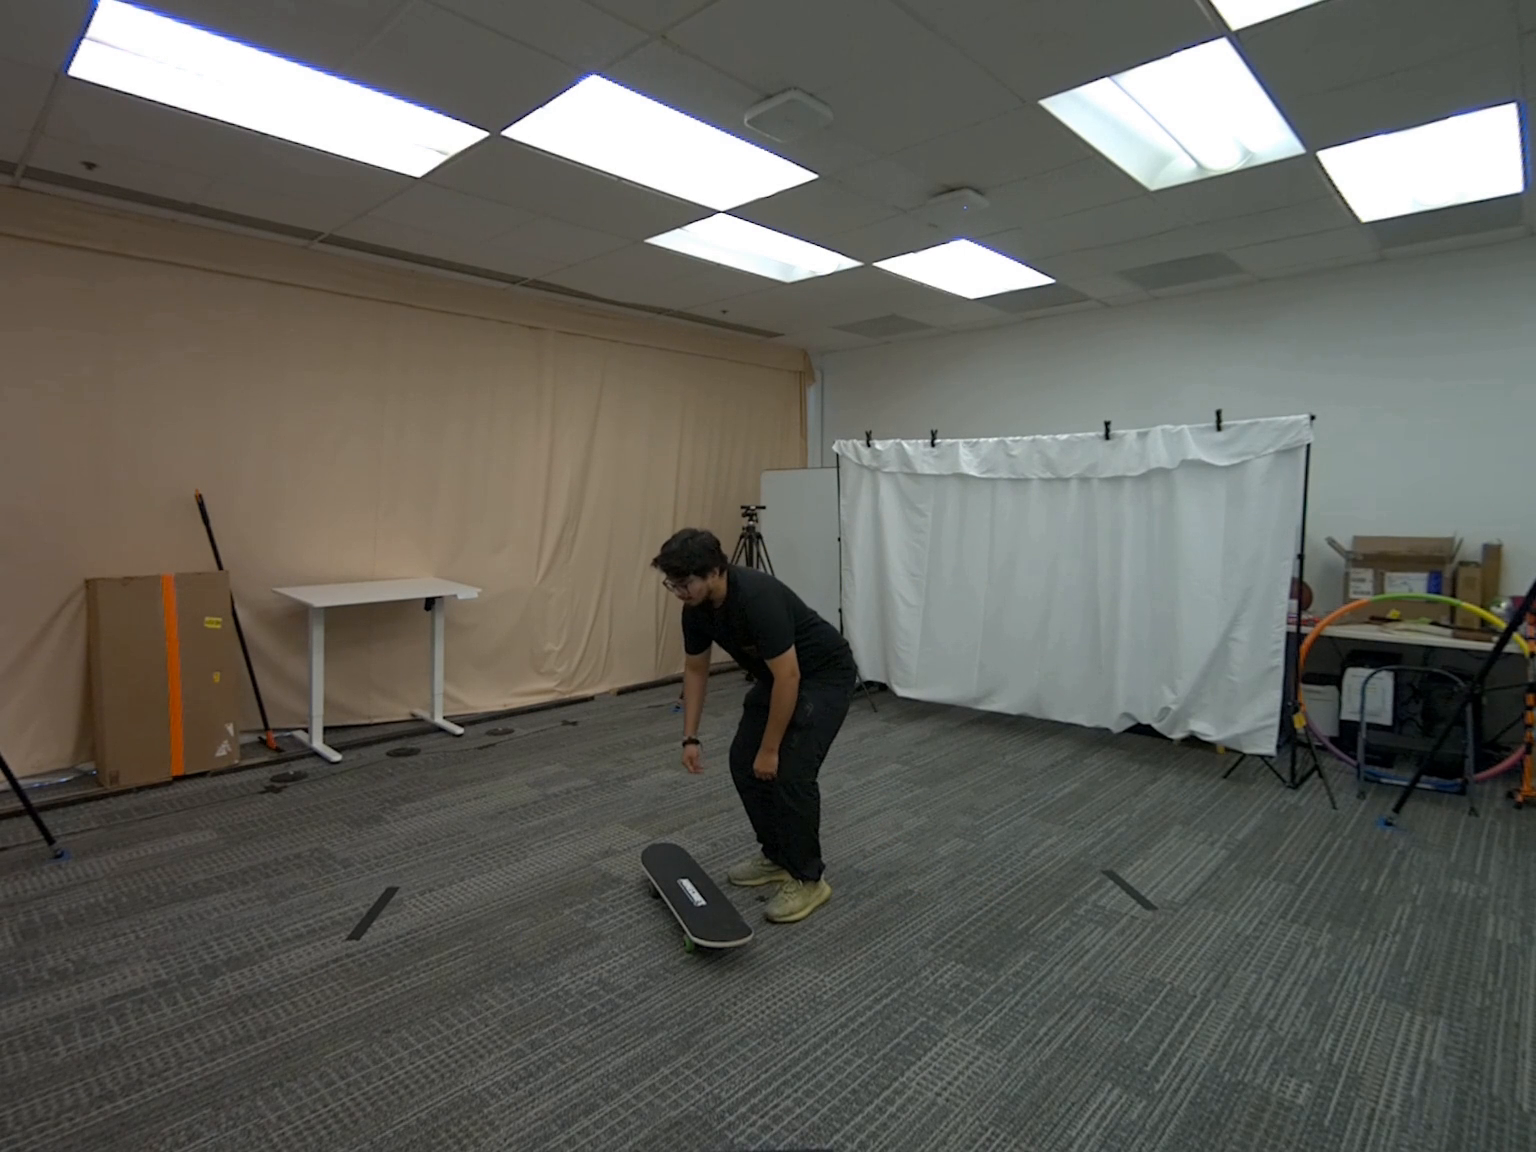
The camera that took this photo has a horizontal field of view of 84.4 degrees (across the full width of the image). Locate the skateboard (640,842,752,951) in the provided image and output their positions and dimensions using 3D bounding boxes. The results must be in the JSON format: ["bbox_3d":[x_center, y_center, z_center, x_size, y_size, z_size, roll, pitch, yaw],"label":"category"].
[{"bbox_3d":[-0.253,1.099,2.848,0.189,0.110,0.804,-1,4,-23],"label":"skateboard"}]
